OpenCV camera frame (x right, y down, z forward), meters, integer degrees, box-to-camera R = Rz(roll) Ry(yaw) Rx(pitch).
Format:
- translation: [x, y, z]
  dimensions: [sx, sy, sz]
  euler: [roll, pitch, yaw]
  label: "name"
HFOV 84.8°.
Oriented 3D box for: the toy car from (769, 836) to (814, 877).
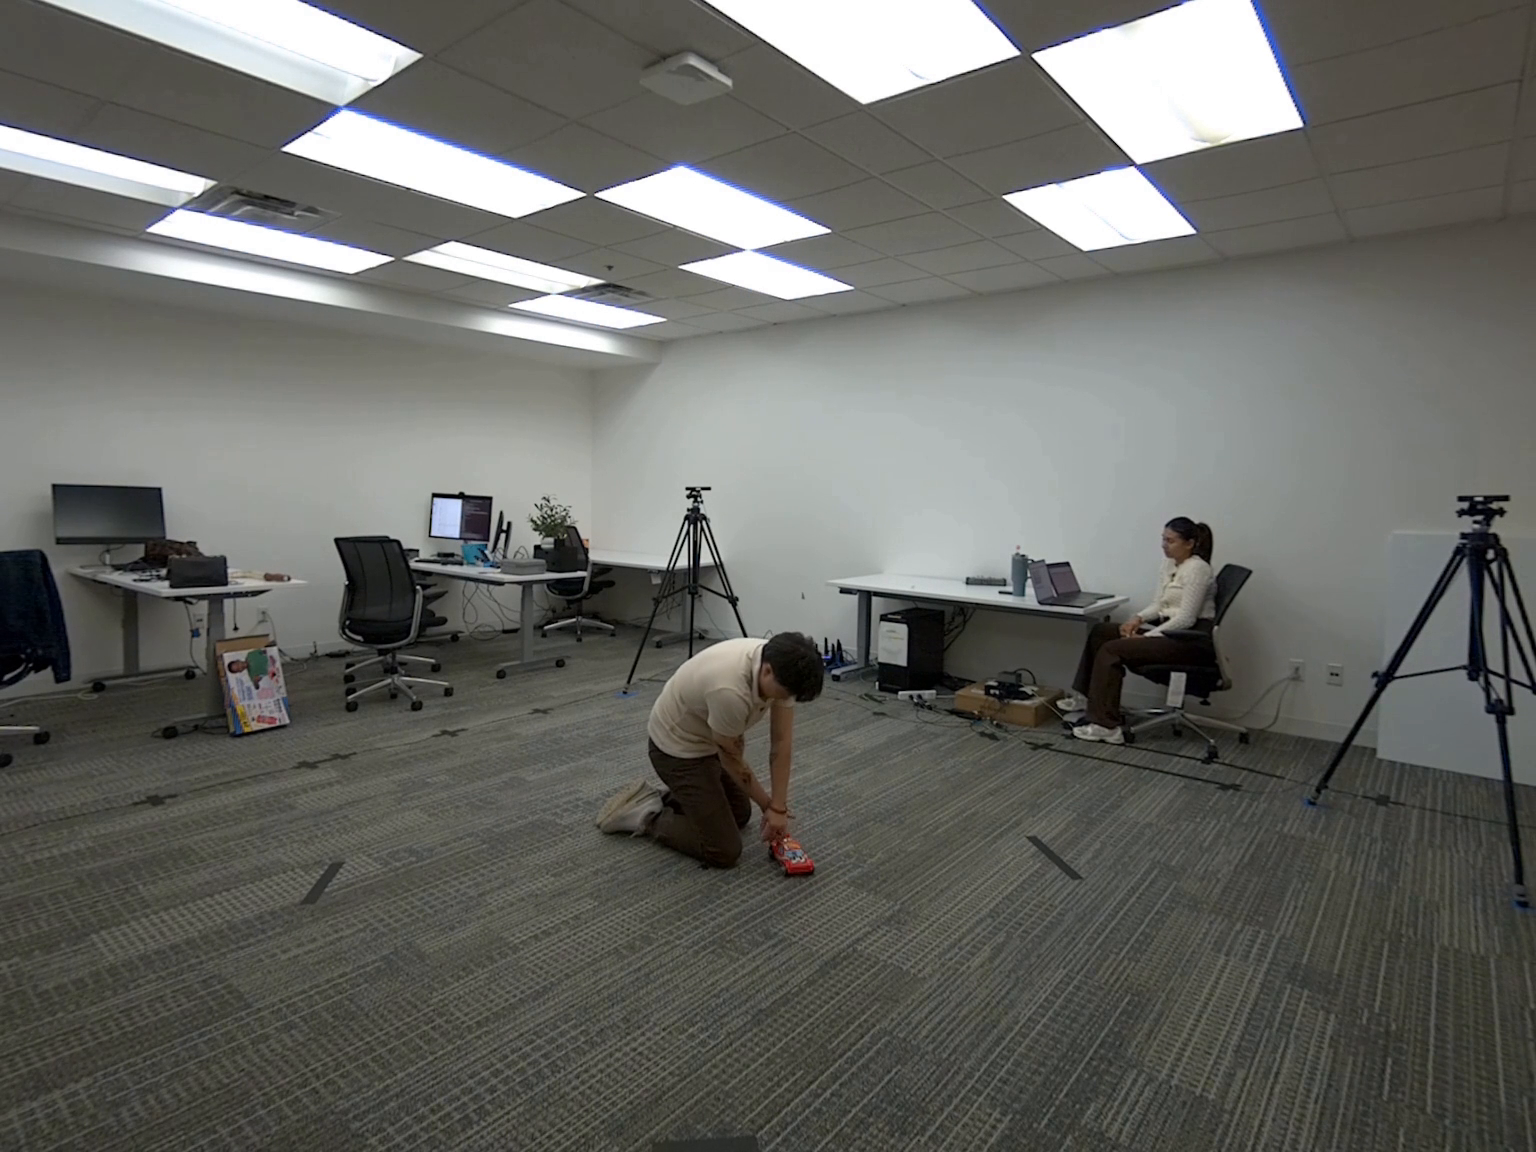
- translation: [0.073, 1.038, 3.161]
  dimensions: [0.128, 0.082, 0.262]
  euler: [0, 17, -16]
  label: "toy car"
